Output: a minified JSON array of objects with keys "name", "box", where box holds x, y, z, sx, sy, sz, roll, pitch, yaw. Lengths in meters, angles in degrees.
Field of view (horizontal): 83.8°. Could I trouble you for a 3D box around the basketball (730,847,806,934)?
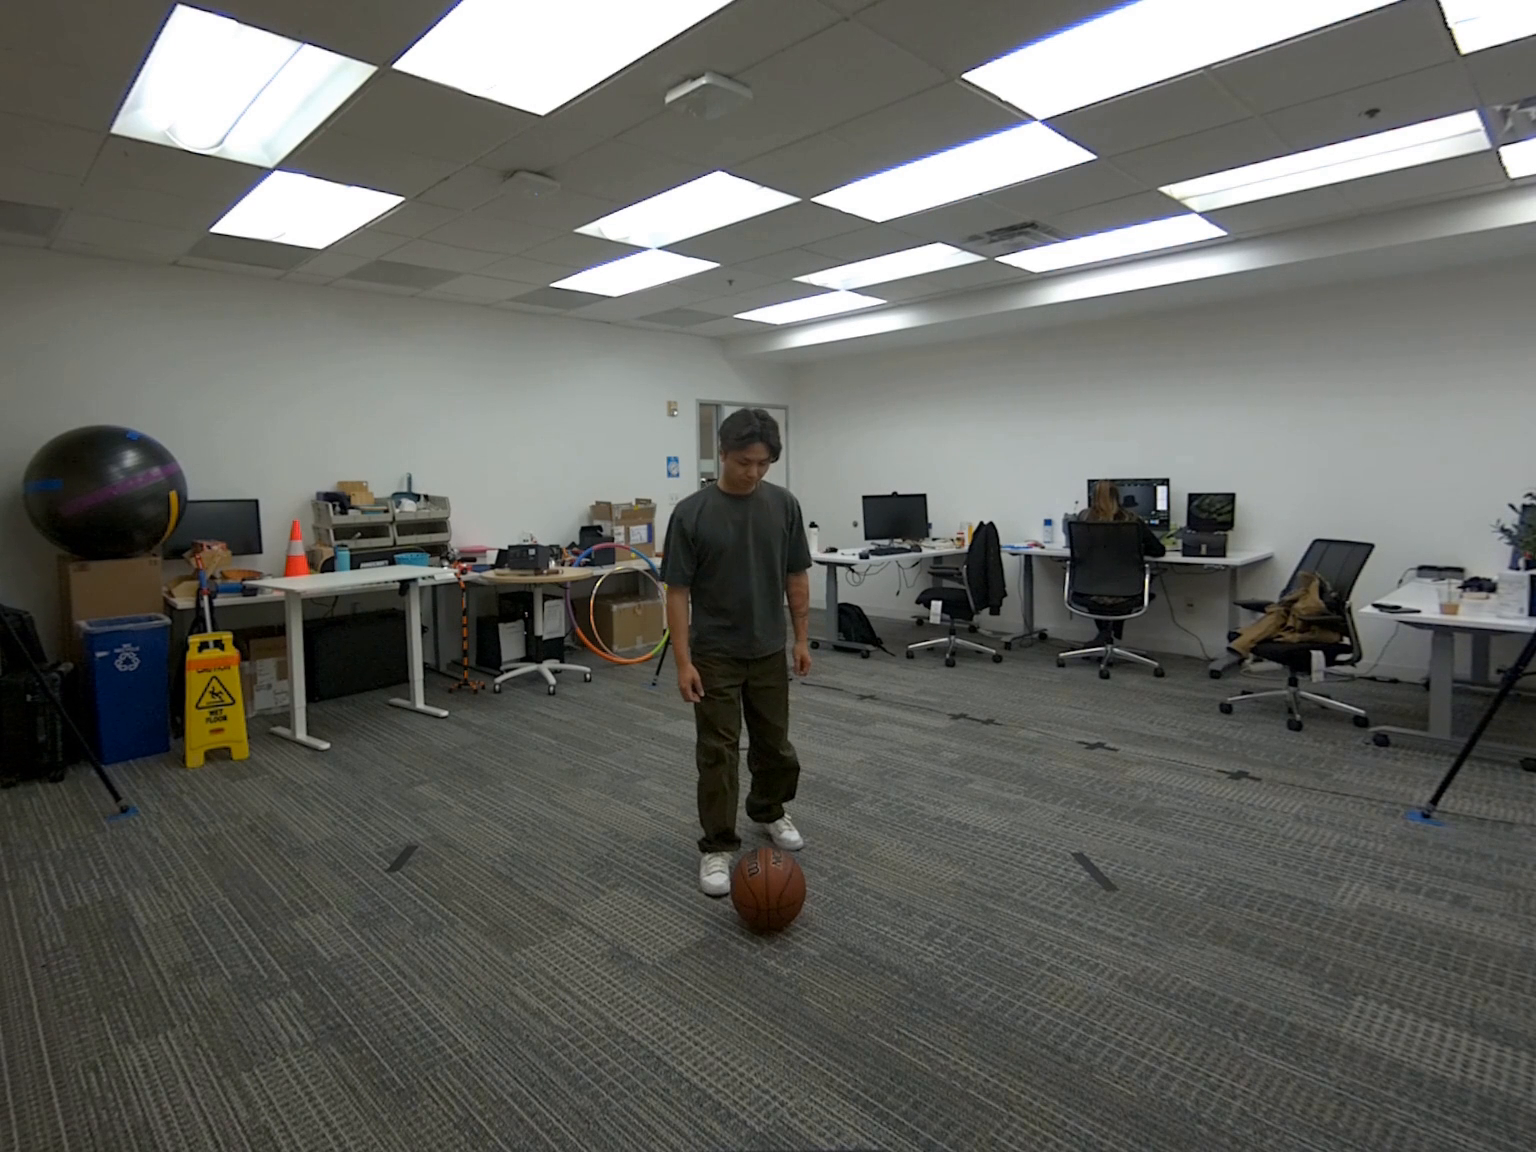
[{"name":"basketball","box":[0.011,0.976,2.671,0.236,0.235,0.237,-1,5,-2]}]
